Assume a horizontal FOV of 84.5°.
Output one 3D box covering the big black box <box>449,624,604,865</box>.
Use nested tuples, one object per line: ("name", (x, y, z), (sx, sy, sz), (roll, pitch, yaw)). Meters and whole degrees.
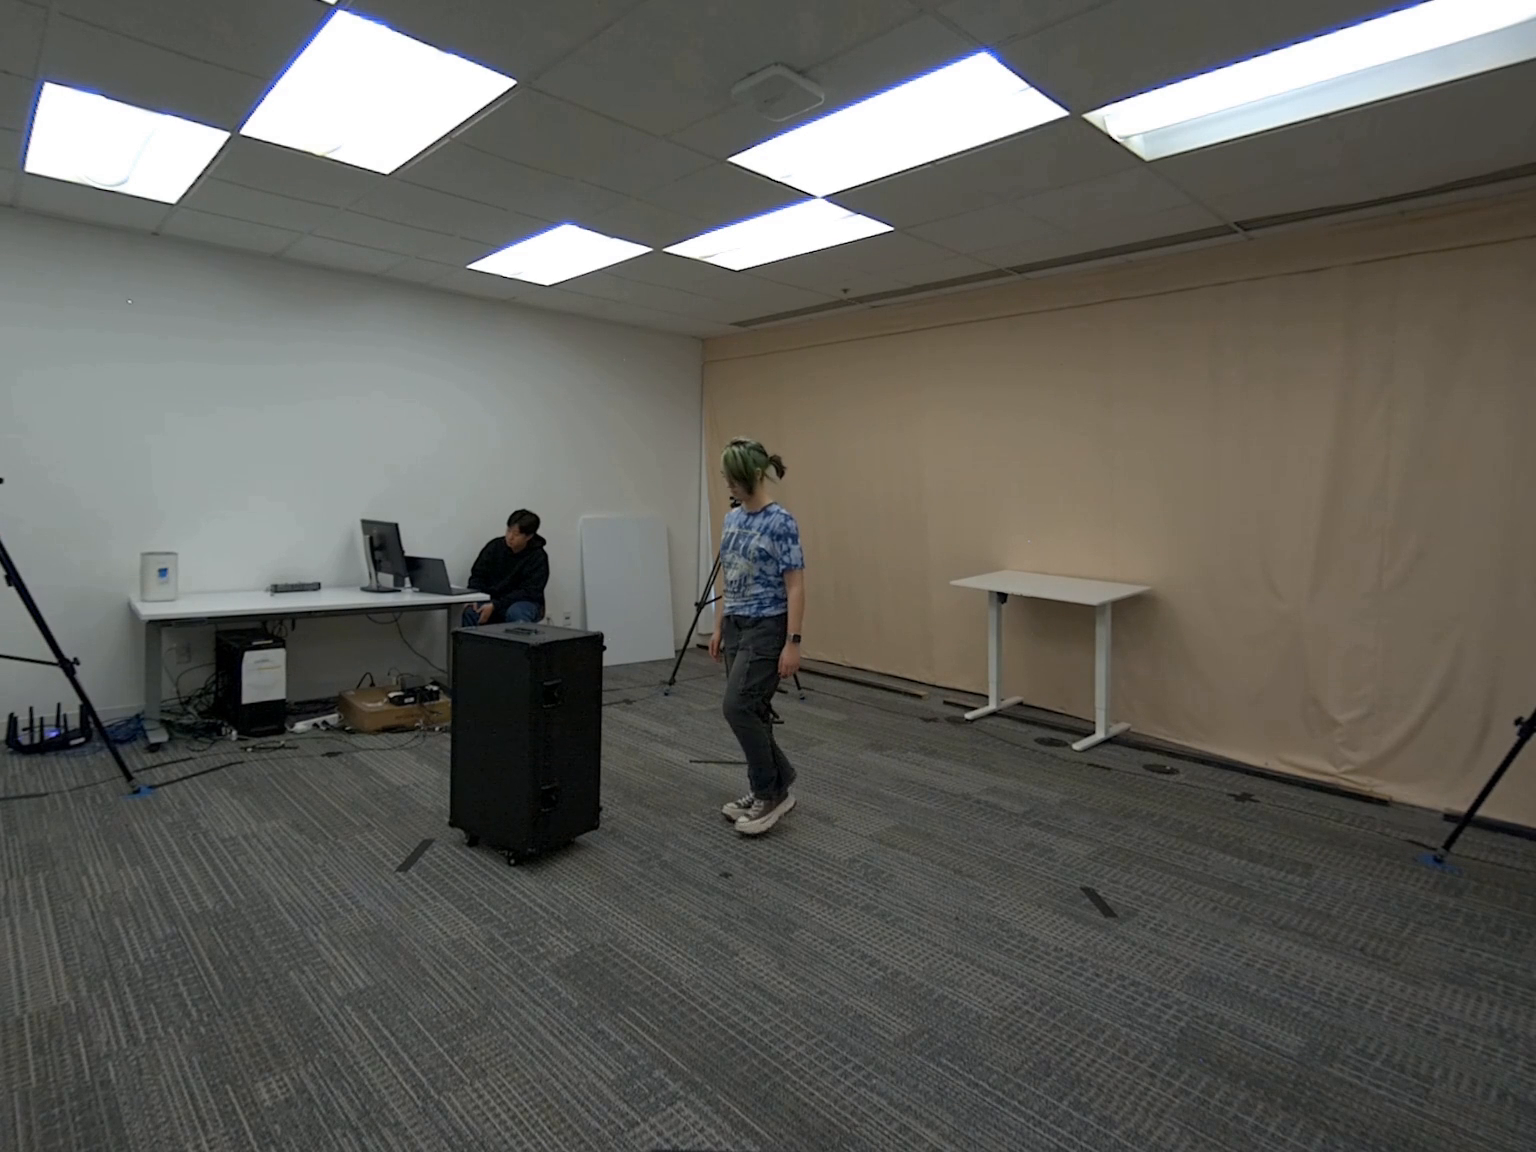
("big black box", (-0.959, 0.641, 3.327), (0.533, 0.860, 0.387), (3, 3, 34))
